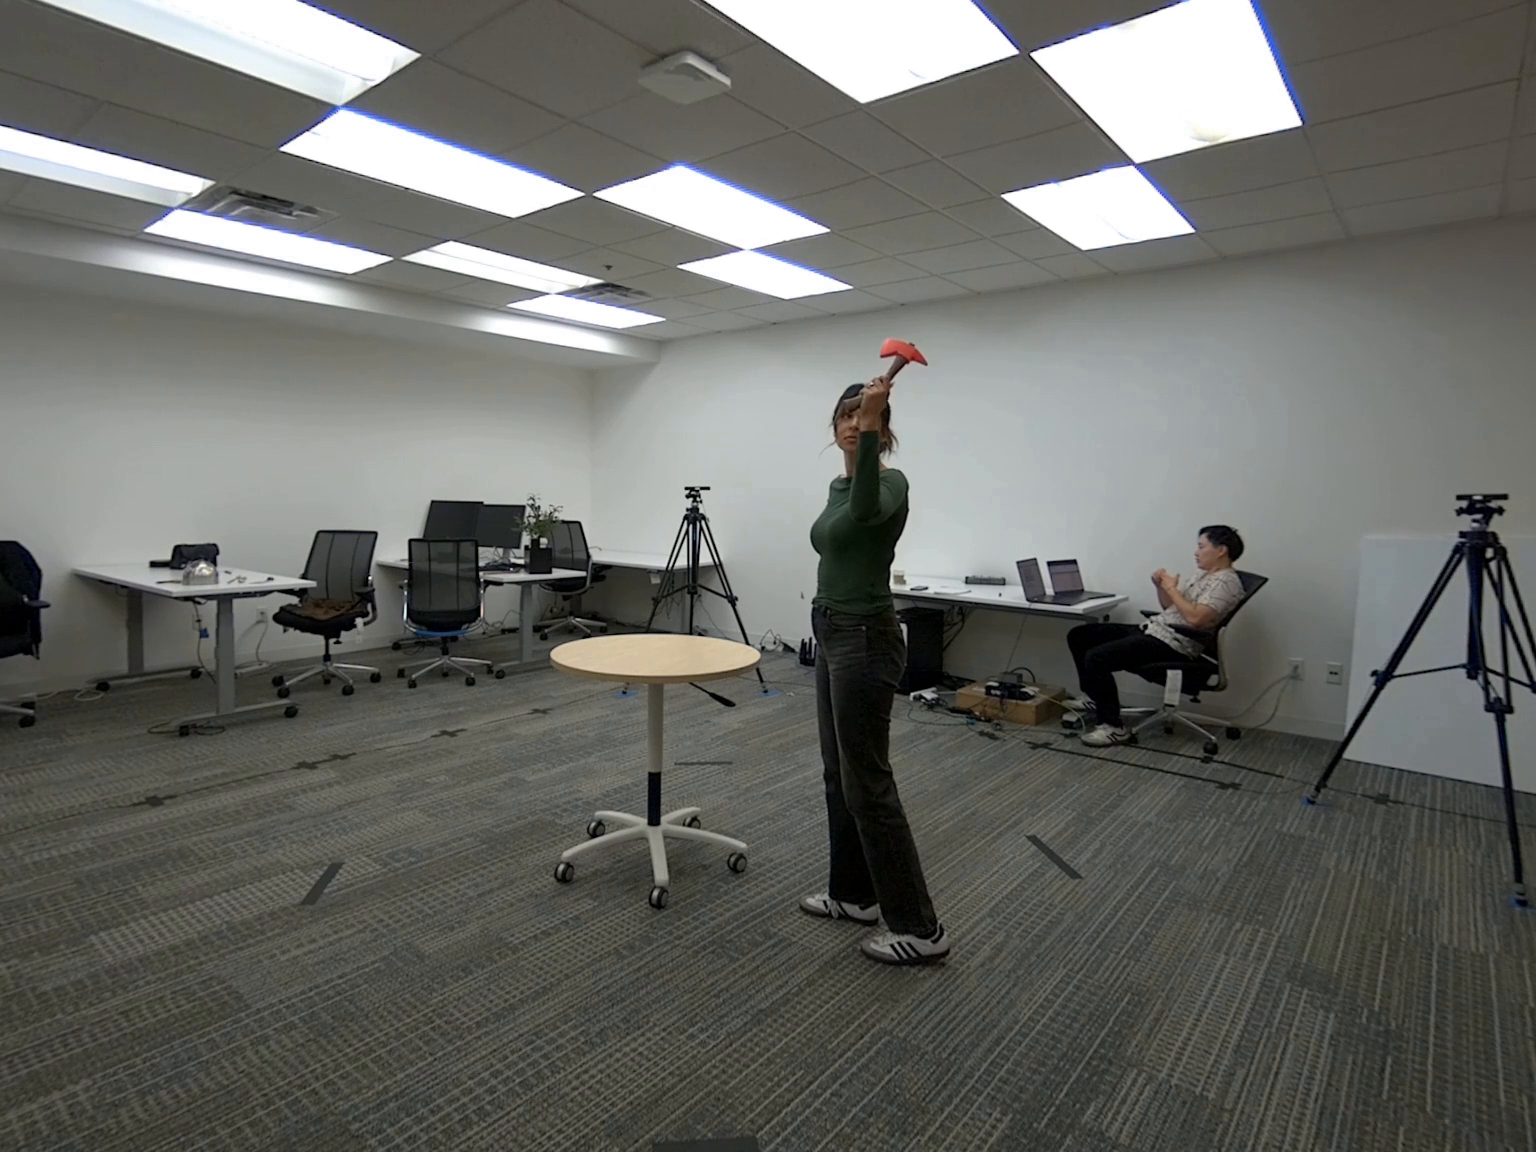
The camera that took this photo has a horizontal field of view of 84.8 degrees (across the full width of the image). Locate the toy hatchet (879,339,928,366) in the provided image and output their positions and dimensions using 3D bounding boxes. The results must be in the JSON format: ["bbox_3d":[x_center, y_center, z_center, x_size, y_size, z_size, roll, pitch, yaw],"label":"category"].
[{"bbox_3d":[0.291,-0.557,2.313,0.269,0.134,0.029,-32,-17,-9],"label":"toy hatchet"}]
